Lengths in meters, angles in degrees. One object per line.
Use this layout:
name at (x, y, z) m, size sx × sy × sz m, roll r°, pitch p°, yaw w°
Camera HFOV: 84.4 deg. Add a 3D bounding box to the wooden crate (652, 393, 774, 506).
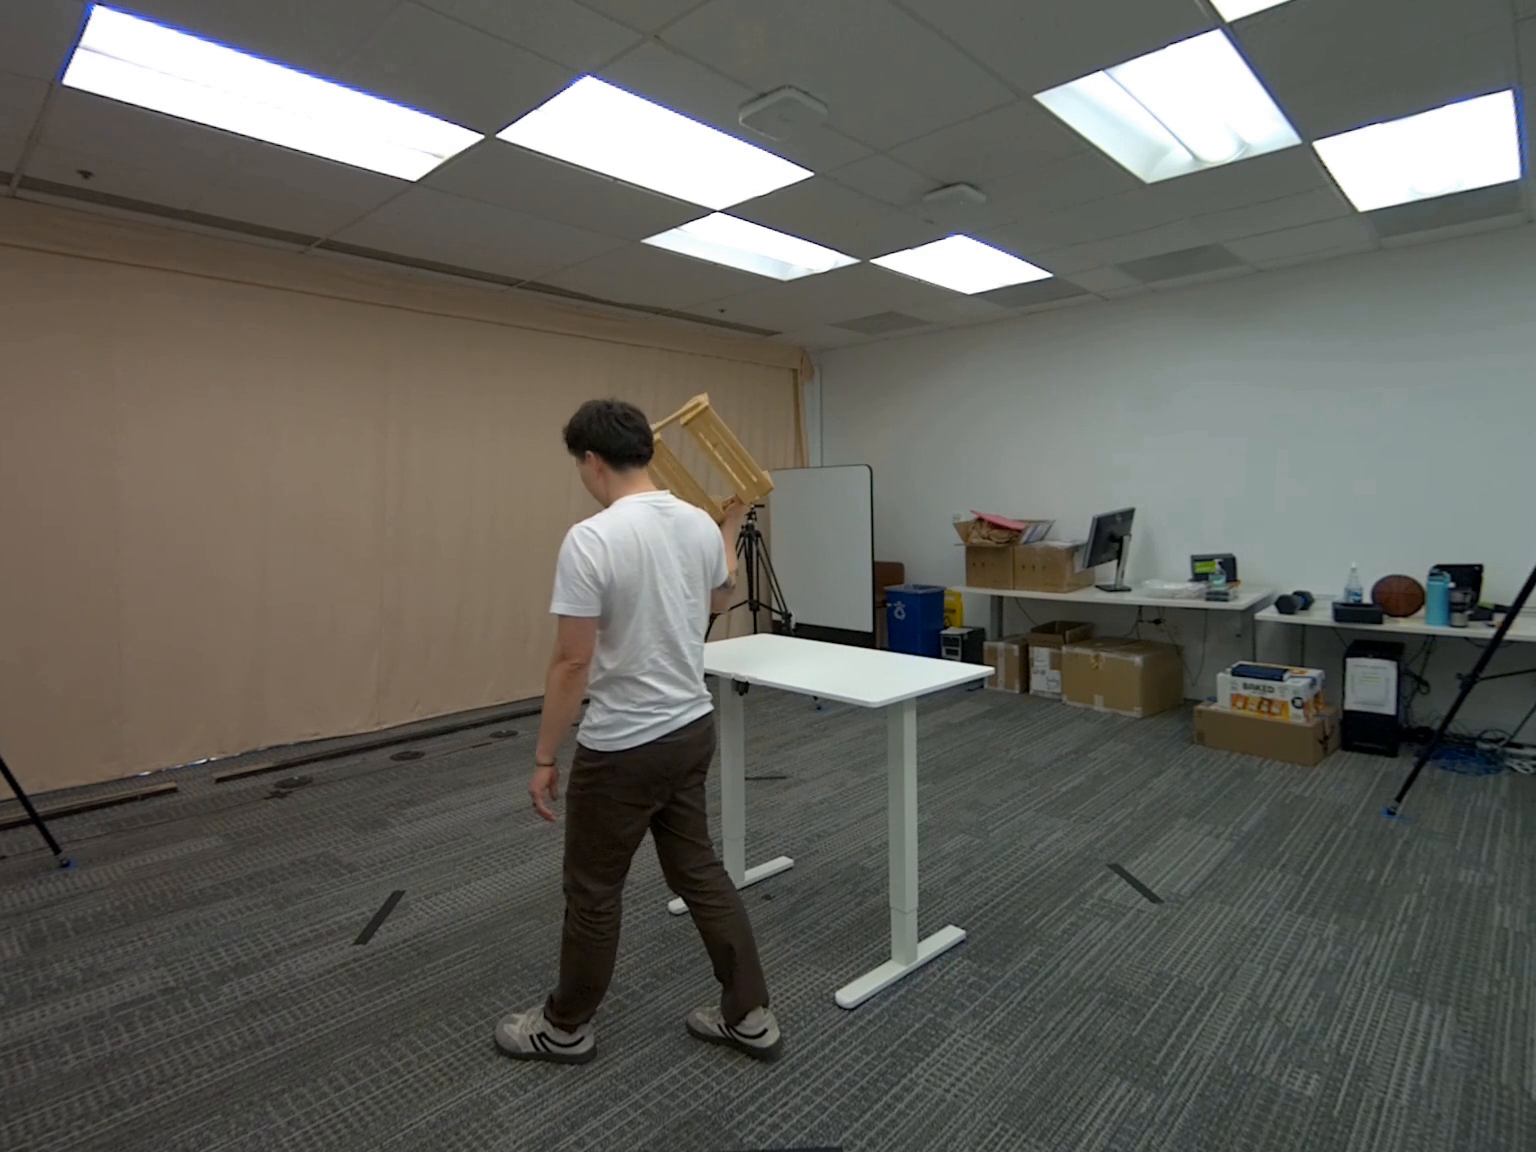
wooden crate at (-0.188, -0.341, 2.428) m, size 0.274 × 0.317 × 0.307 m, roll -37°, pitch 21°, yaw 10°
